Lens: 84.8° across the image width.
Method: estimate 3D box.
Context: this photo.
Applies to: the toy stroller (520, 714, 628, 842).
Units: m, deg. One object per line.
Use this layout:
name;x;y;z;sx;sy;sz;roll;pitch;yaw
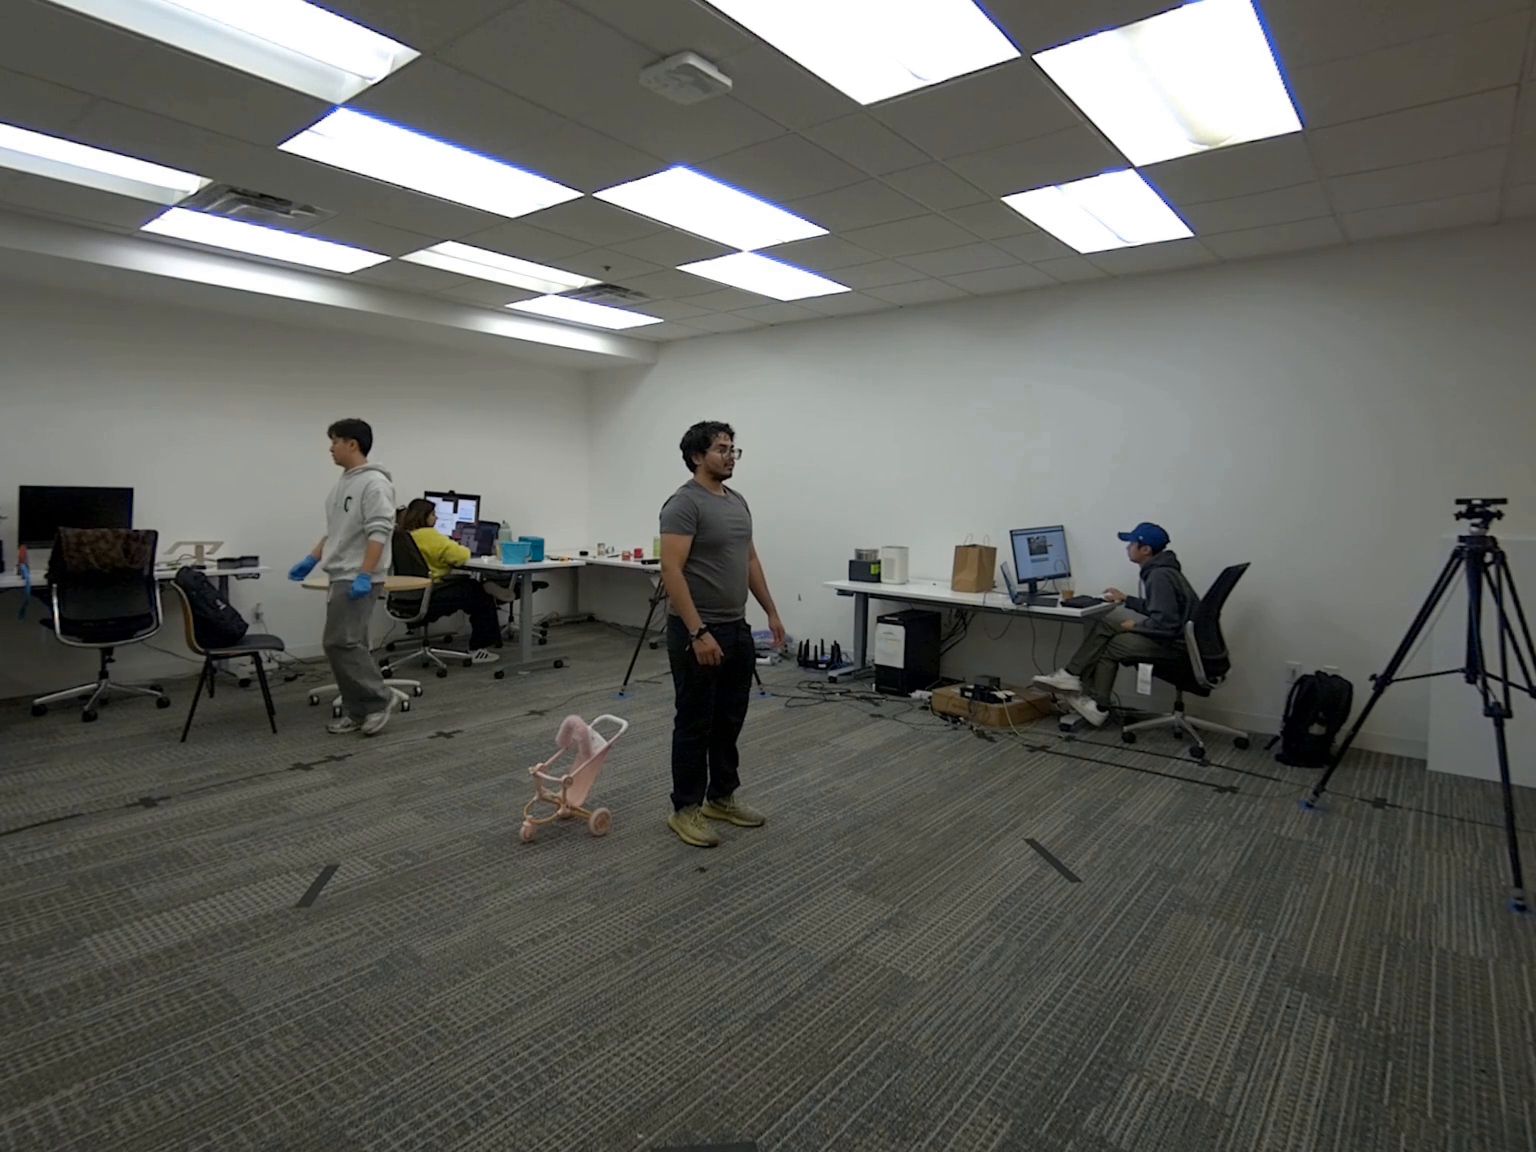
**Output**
toy stroller;-0.815;0.806;3.451;0.328;0.538;0.291;20;-10;-39
